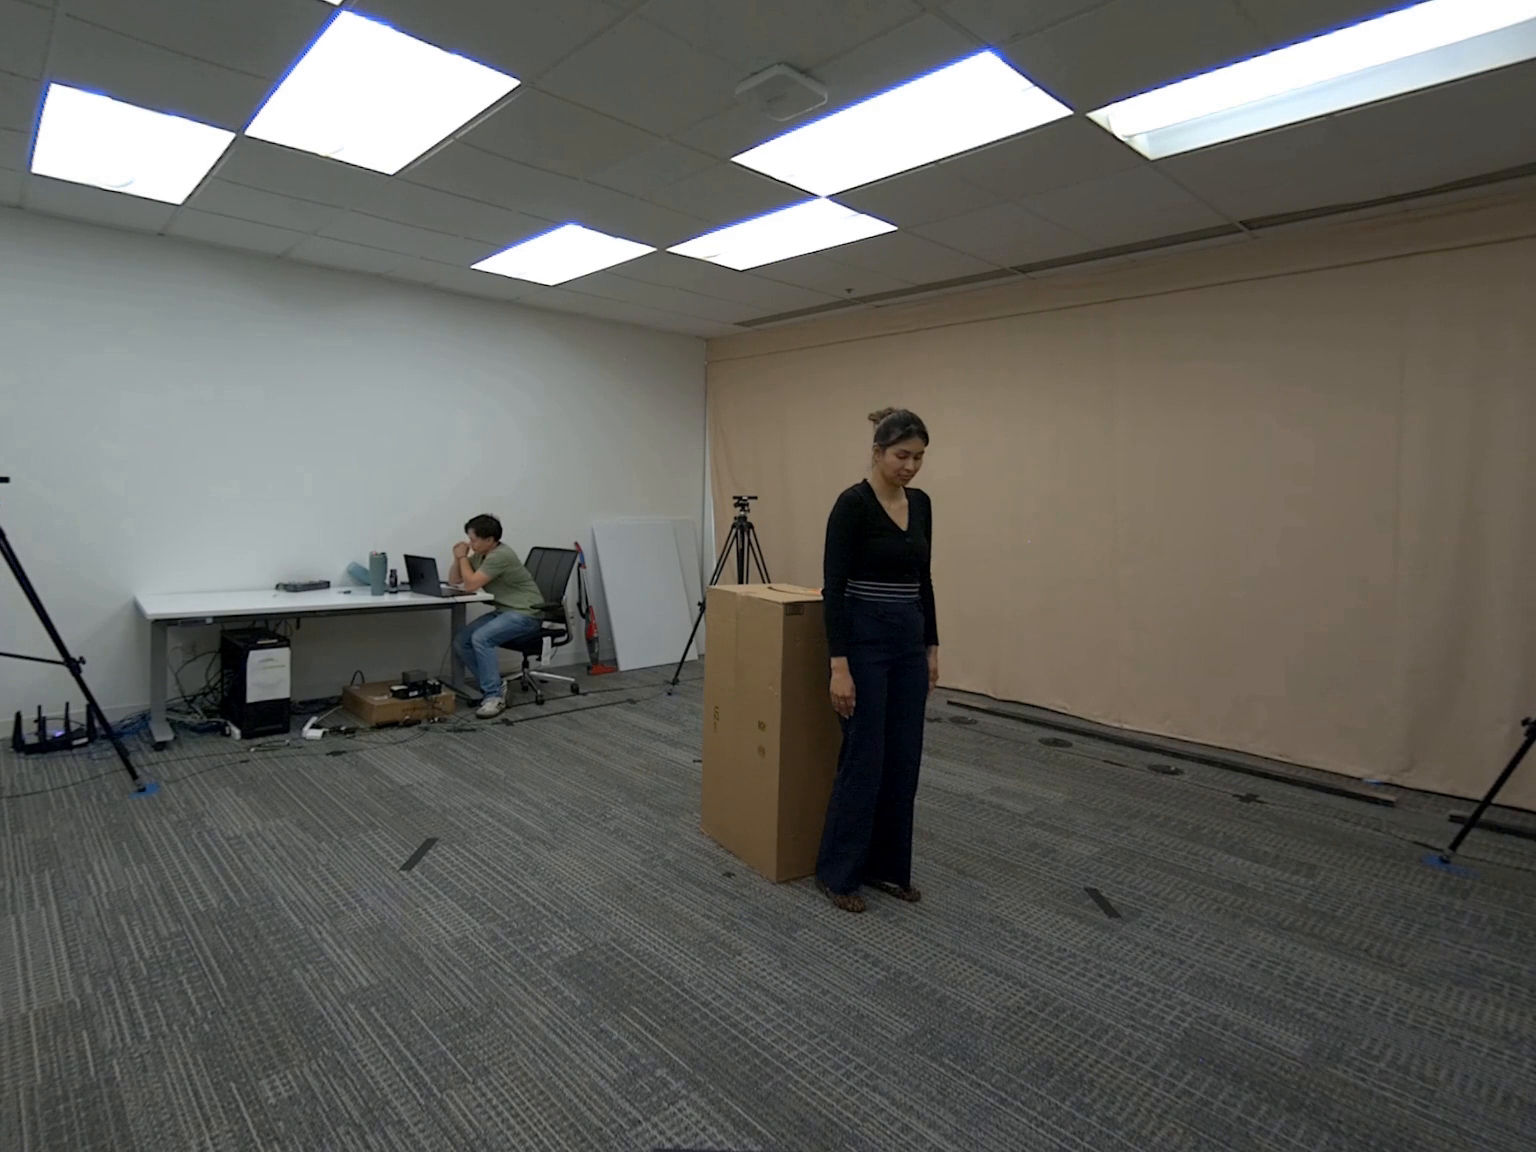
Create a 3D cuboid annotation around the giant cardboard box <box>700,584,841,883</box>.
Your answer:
[{"bbox_3d":[0.051,0.576,3.364,0.417,1.024,0.591,0,3,-32],"label":"giant cardboard box"}]
